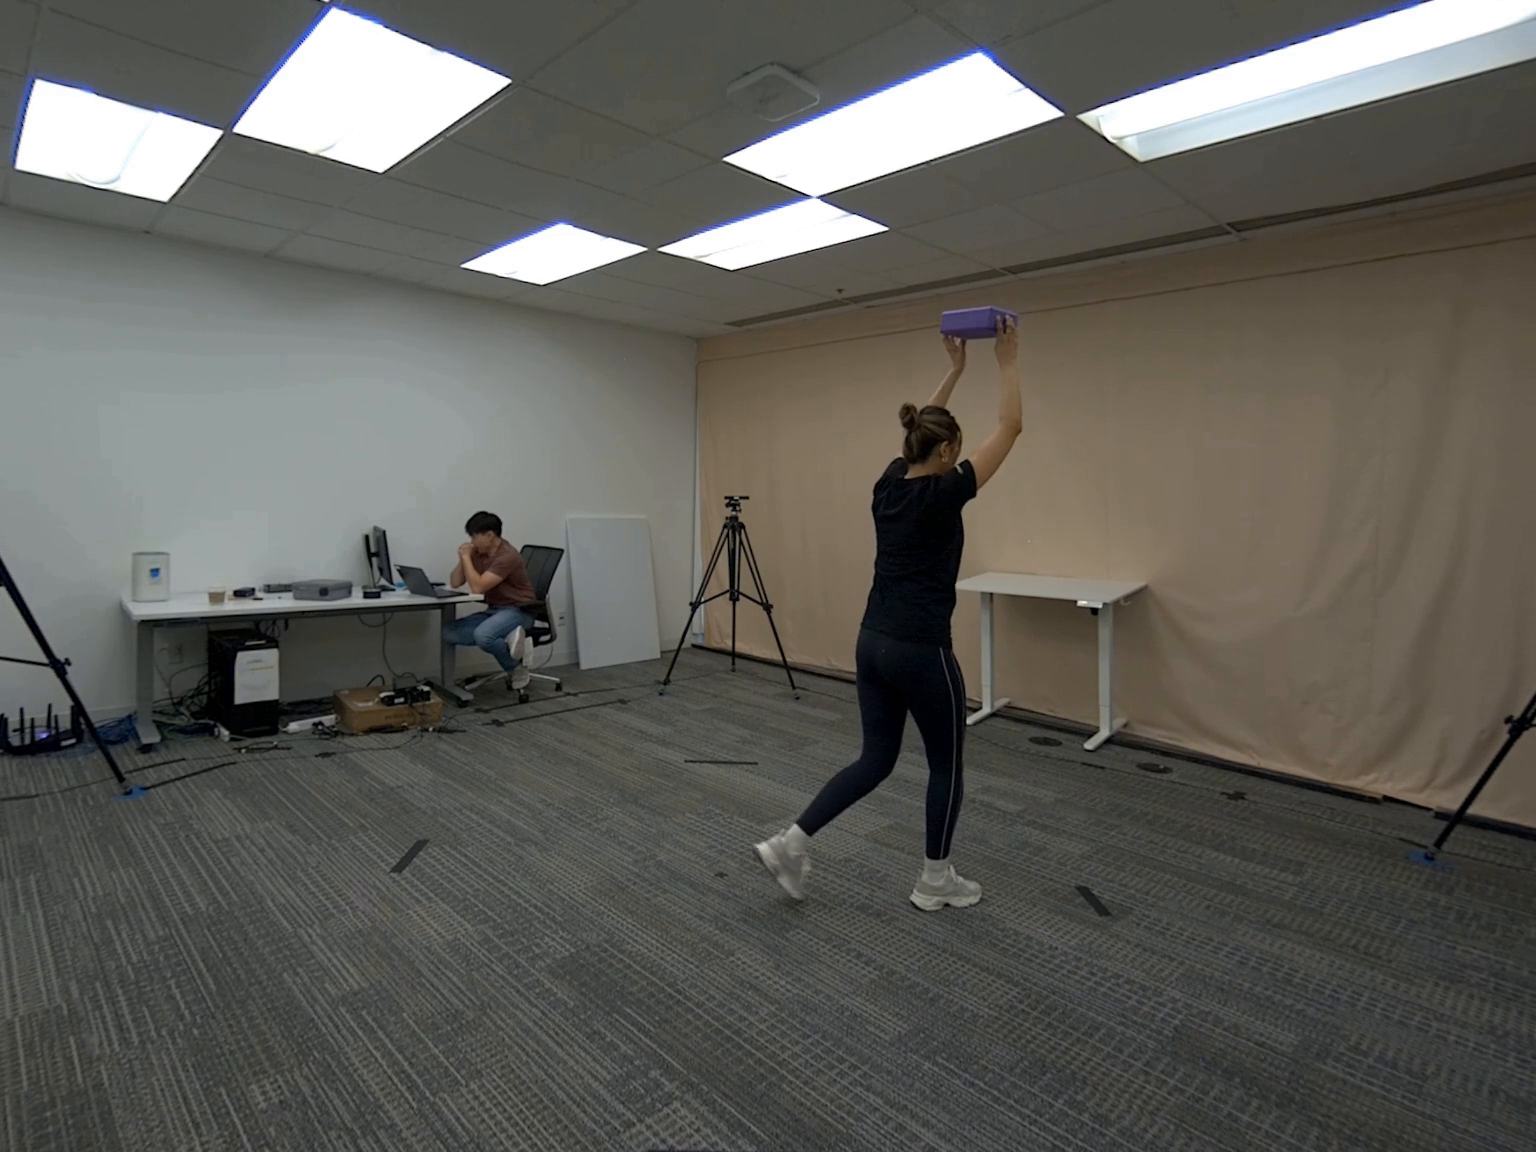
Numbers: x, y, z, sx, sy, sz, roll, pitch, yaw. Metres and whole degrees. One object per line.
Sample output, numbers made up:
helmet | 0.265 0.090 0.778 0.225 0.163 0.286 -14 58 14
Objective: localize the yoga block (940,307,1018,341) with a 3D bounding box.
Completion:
yoga block | 0.726 -0.881 2.952 0.146 0.076 0.235 0 10 -33
